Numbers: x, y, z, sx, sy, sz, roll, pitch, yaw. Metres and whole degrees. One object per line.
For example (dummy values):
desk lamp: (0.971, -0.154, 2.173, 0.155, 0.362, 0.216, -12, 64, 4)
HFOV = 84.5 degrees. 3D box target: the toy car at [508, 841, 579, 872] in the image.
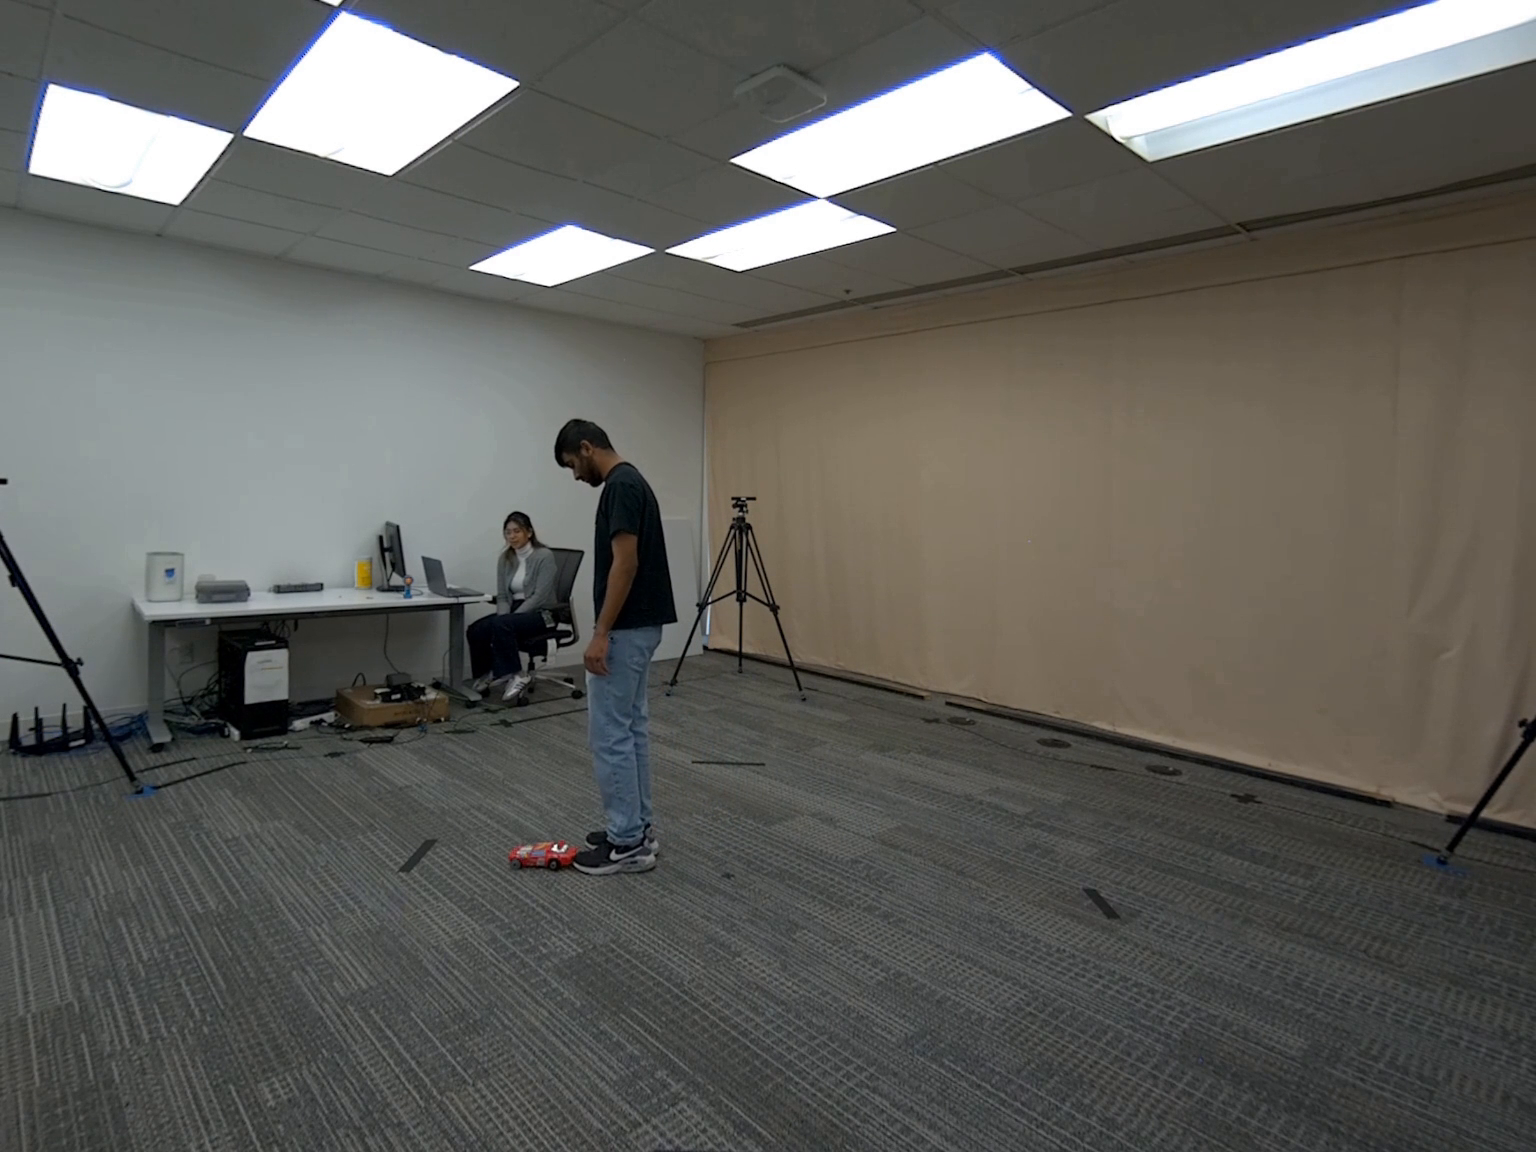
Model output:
toy car: (-0.836, 1.044, 3.165, 0.255, 0.083, 0.130, -11, 4, 5)
